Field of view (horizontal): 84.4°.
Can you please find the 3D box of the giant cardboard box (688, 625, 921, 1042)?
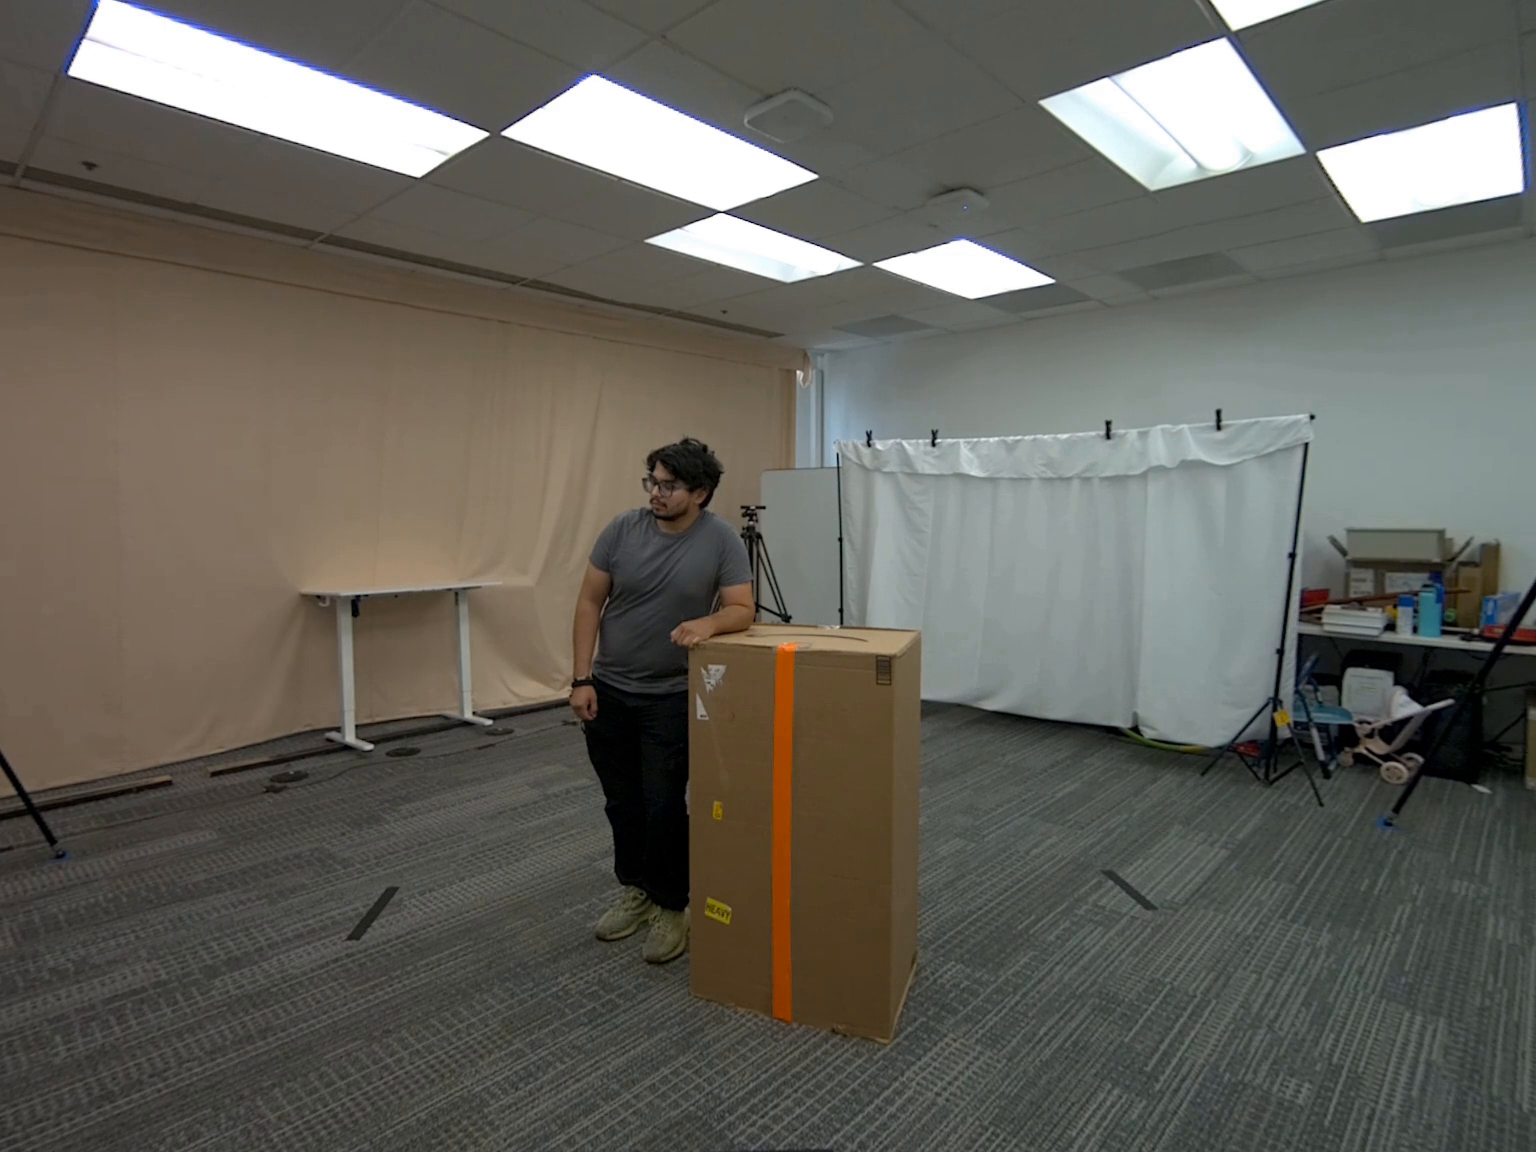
[{"bbox_3d":[0.125,0.682,2.441,0.591,1.024,0.417,1,3,23],"label":"giant cardboard box"}]
